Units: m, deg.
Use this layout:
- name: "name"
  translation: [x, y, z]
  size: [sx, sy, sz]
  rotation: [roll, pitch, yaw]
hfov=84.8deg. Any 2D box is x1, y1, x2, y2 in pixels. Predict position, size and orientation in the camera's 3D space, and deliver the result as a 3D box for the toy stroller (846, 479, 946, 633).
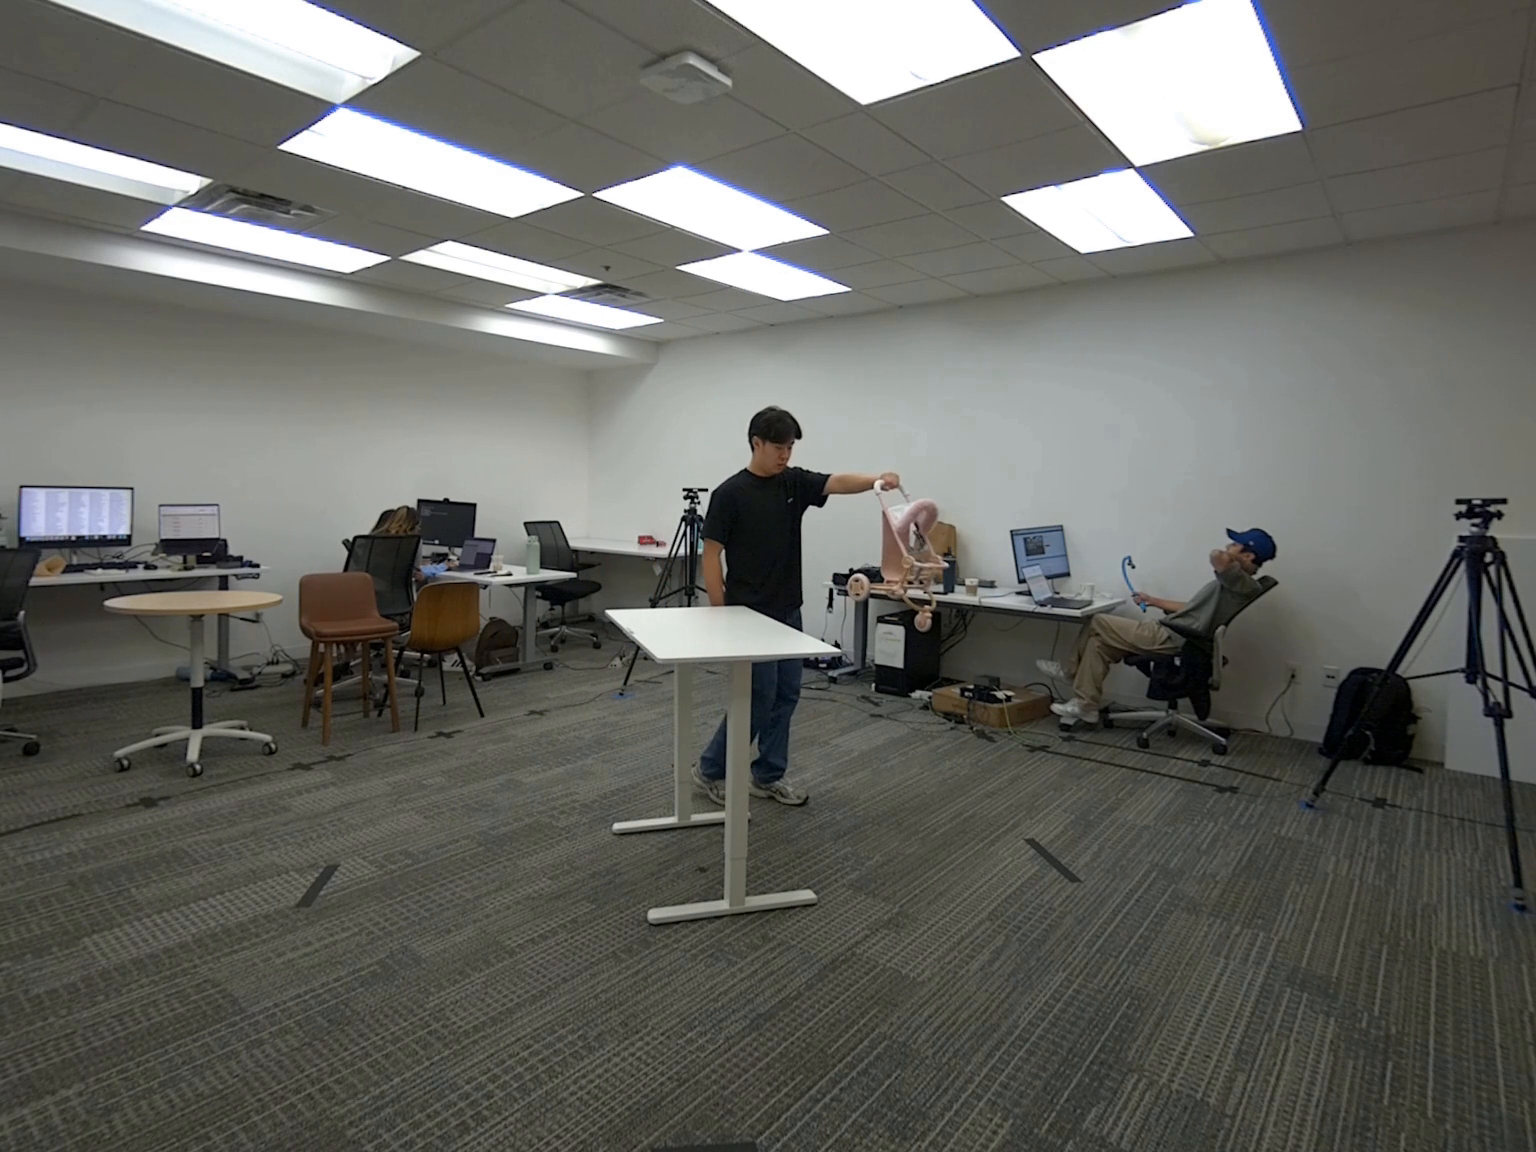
- name: "toy stroller"
  translation: [0.534, -0.081, 3.327]
  size: [0.272, 0.531, 0.355]
  rotation: [1, 13, -42]
